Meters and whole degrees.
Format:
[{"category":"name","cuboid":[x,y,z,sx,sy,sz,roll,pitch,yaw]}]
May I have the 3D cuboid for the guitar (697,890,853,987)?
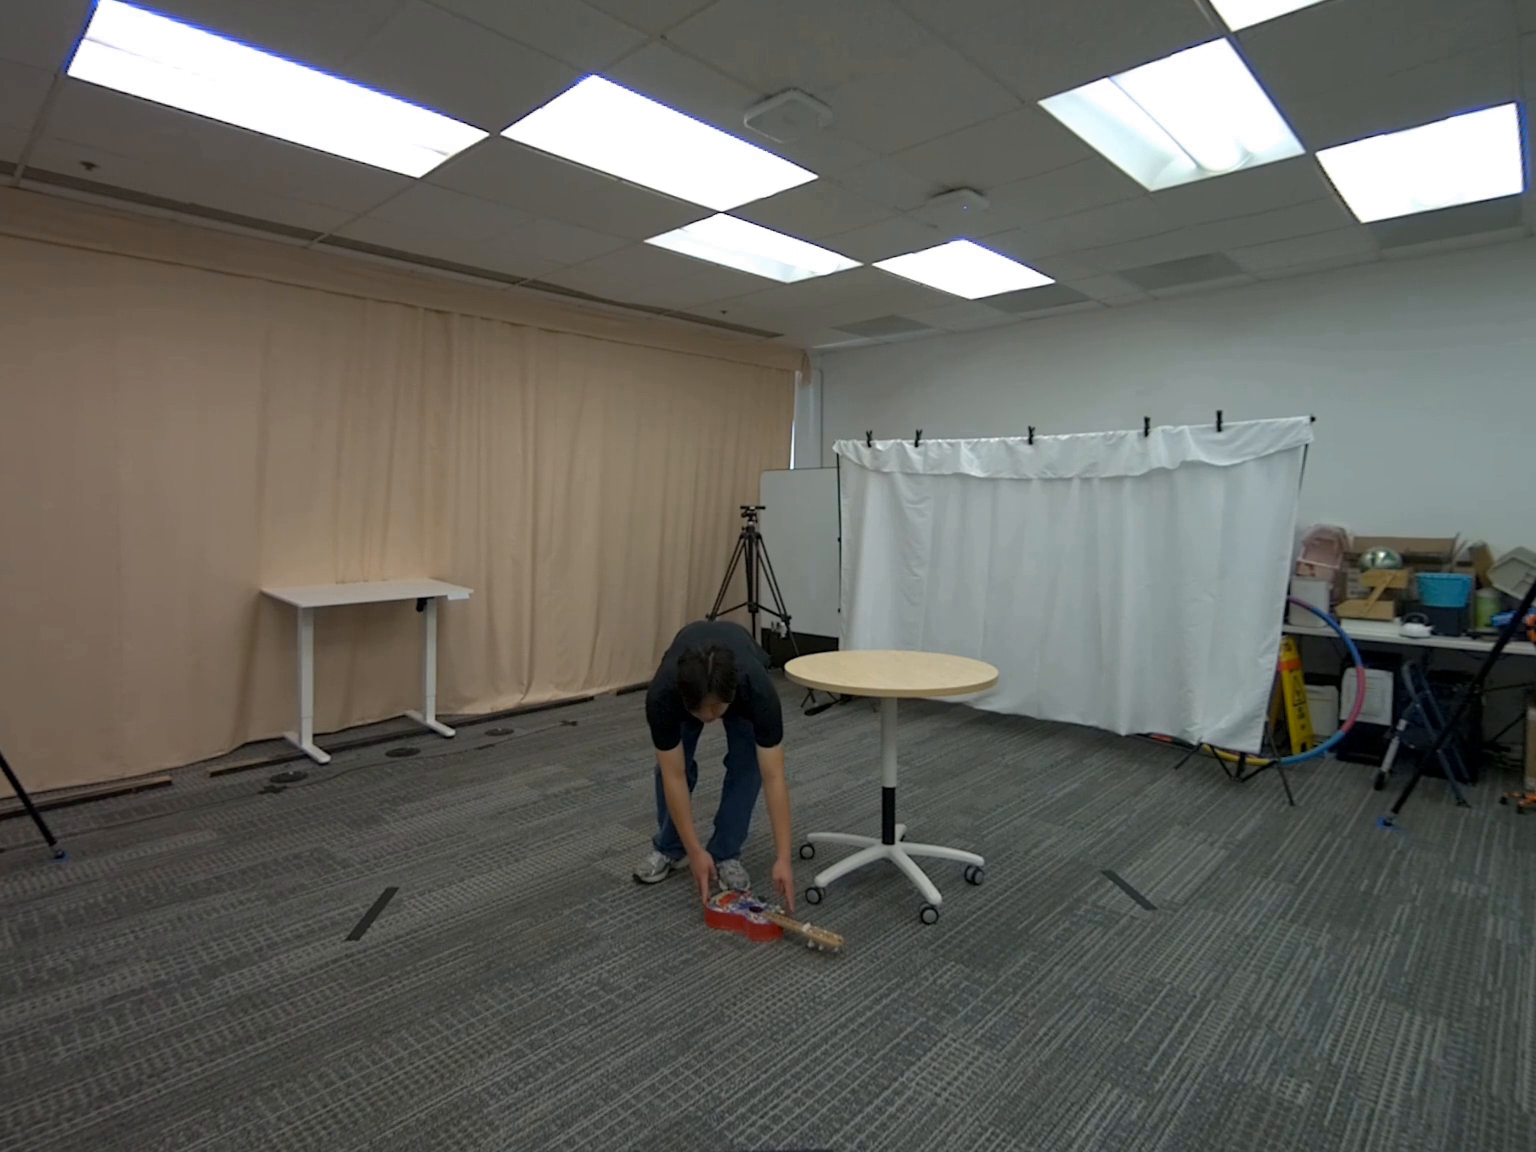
[{"category":"guitar","cuboid":[0.009,1.139,2.707,0.187,0.070,0.514,-5,6,-44]}]
